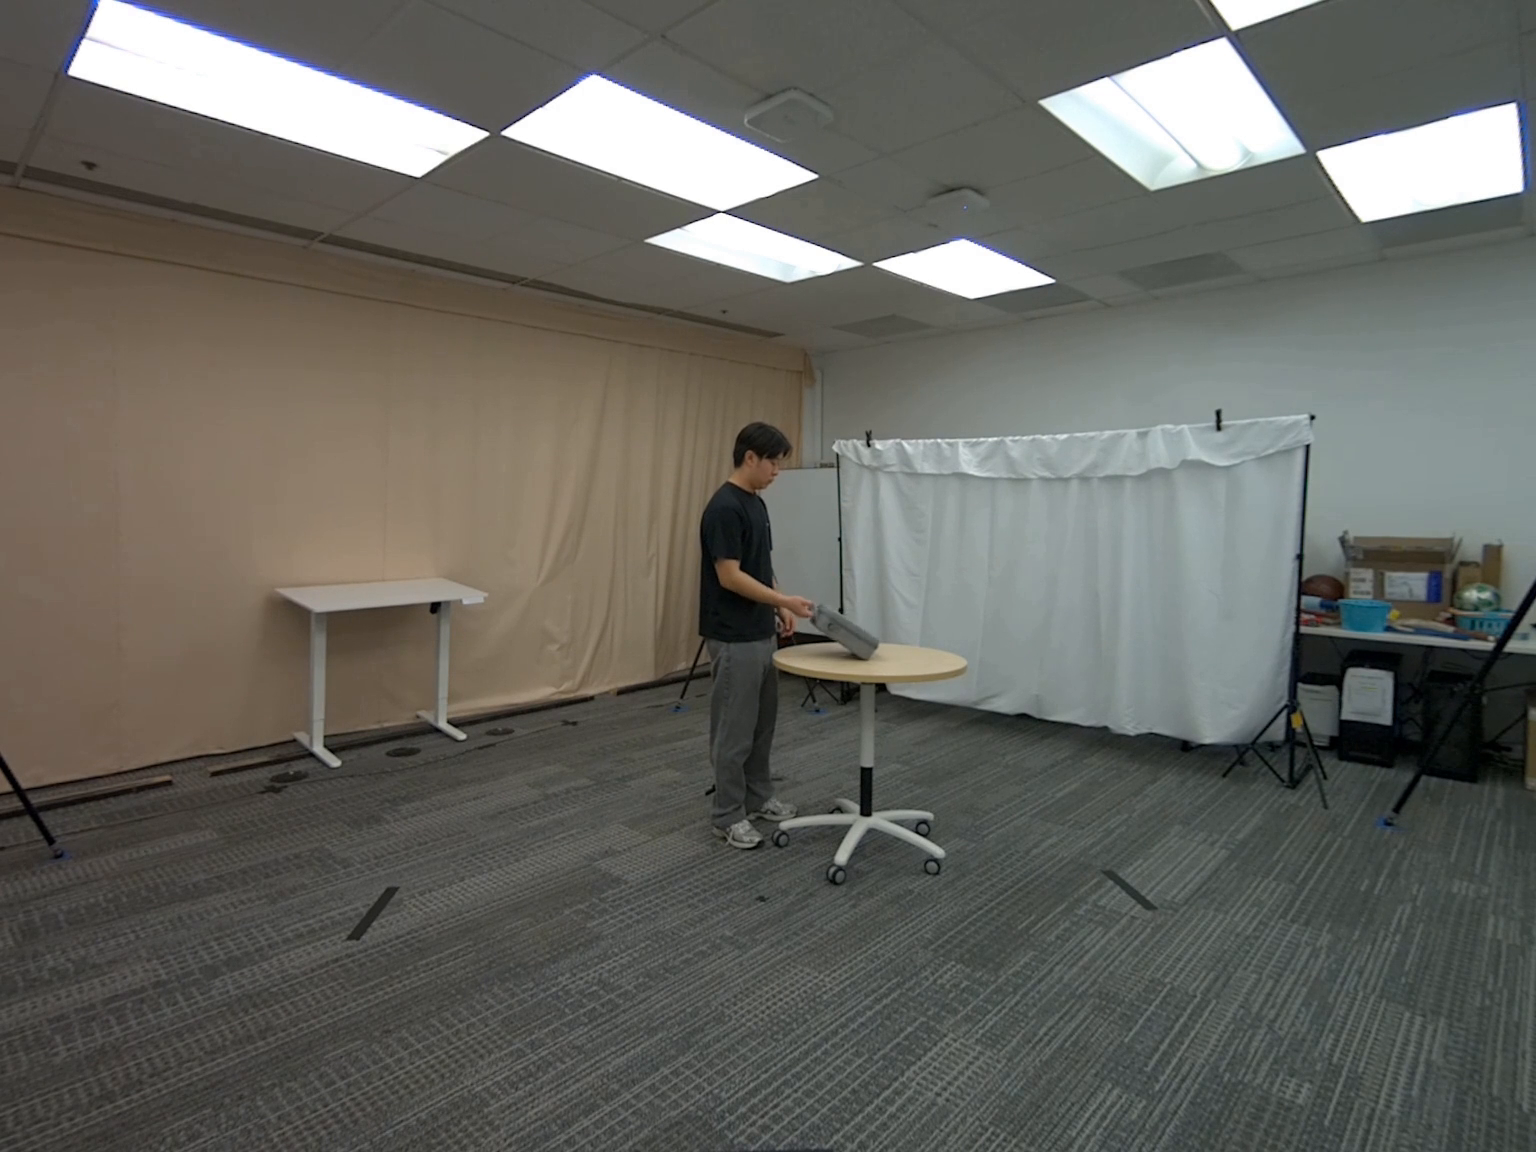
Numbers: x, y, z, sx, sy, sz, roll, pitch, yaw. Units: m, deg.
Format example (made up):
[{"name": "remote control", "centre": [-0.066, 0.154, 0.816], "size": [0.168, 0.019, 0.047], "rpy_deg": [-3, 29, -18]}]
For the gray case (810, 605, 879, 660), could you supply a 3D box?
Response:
[{"name": "gray case", "centre": [0.302, 0.219, 3.398], "size": [0.287, 0.103, 0.264], "rpy_deg": [33, -2, -2]}]
